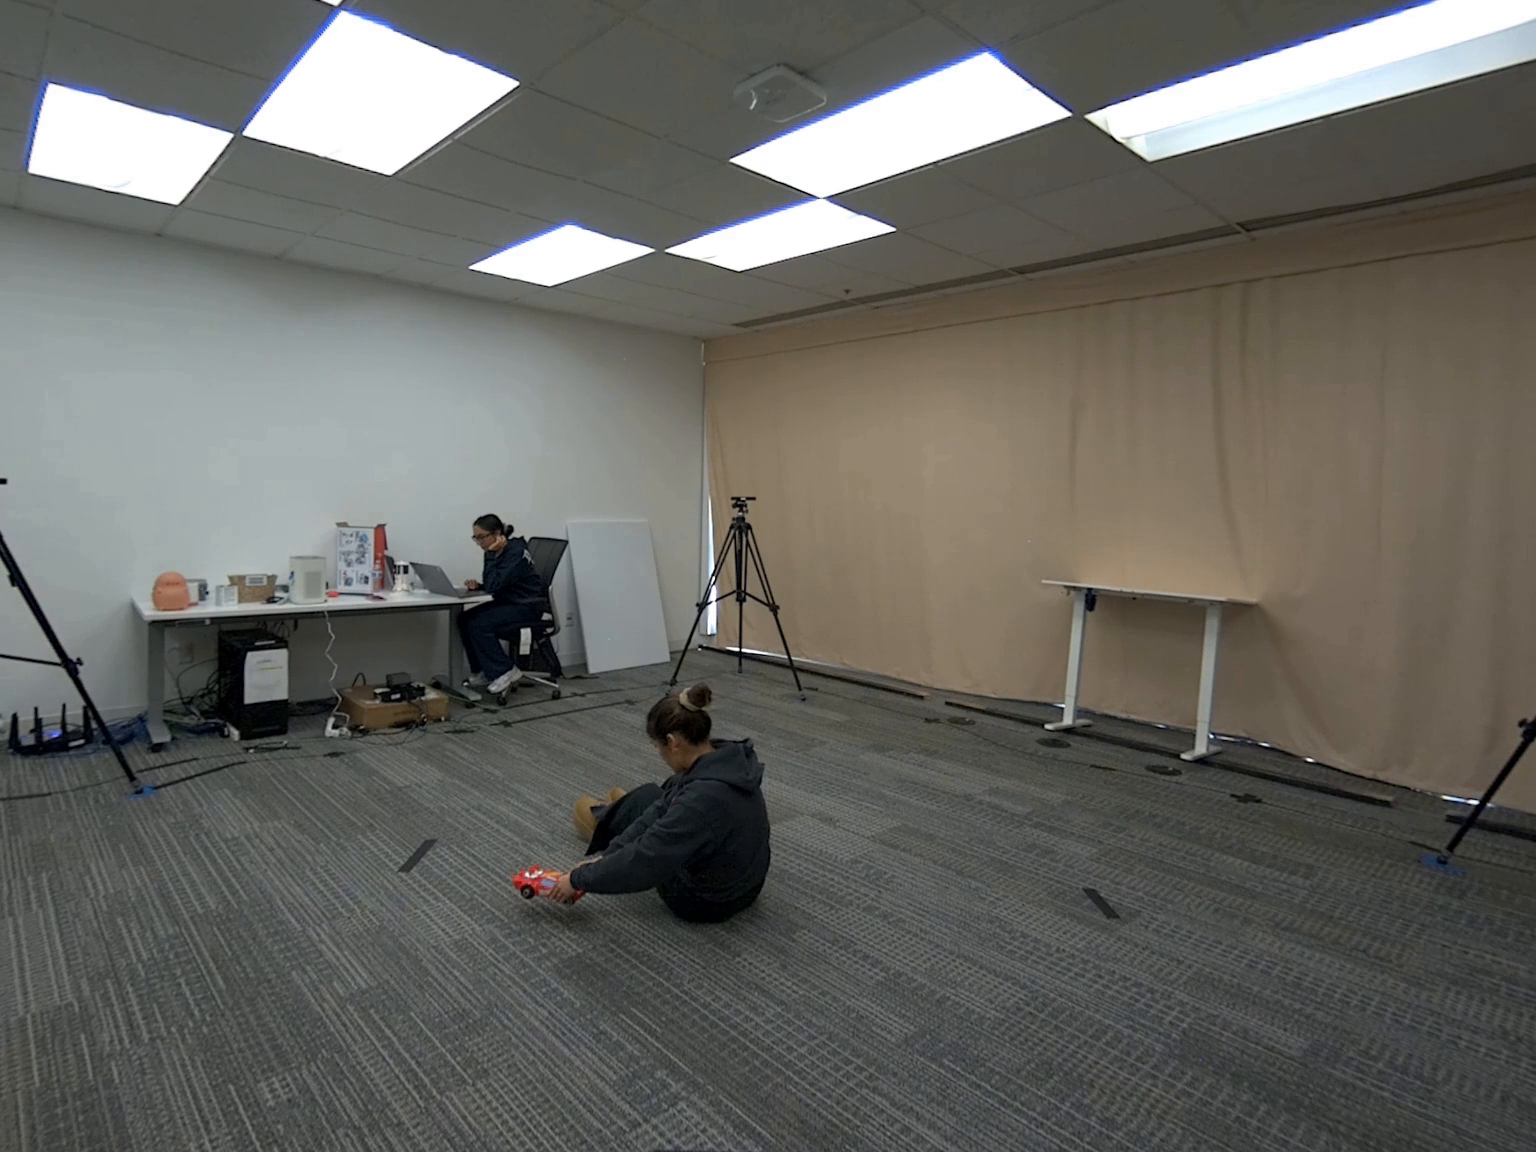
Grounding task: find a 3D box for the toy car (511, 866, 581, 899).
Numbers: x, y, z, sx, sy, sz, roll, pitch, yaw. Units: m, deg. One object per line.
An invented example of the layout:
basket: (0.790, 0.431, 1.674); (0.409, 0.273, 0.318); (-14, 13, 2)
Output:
toy car: (-0.727, 1.020, 2.804); (0.258, 0.083, 0.129); (15, 5, 15)
